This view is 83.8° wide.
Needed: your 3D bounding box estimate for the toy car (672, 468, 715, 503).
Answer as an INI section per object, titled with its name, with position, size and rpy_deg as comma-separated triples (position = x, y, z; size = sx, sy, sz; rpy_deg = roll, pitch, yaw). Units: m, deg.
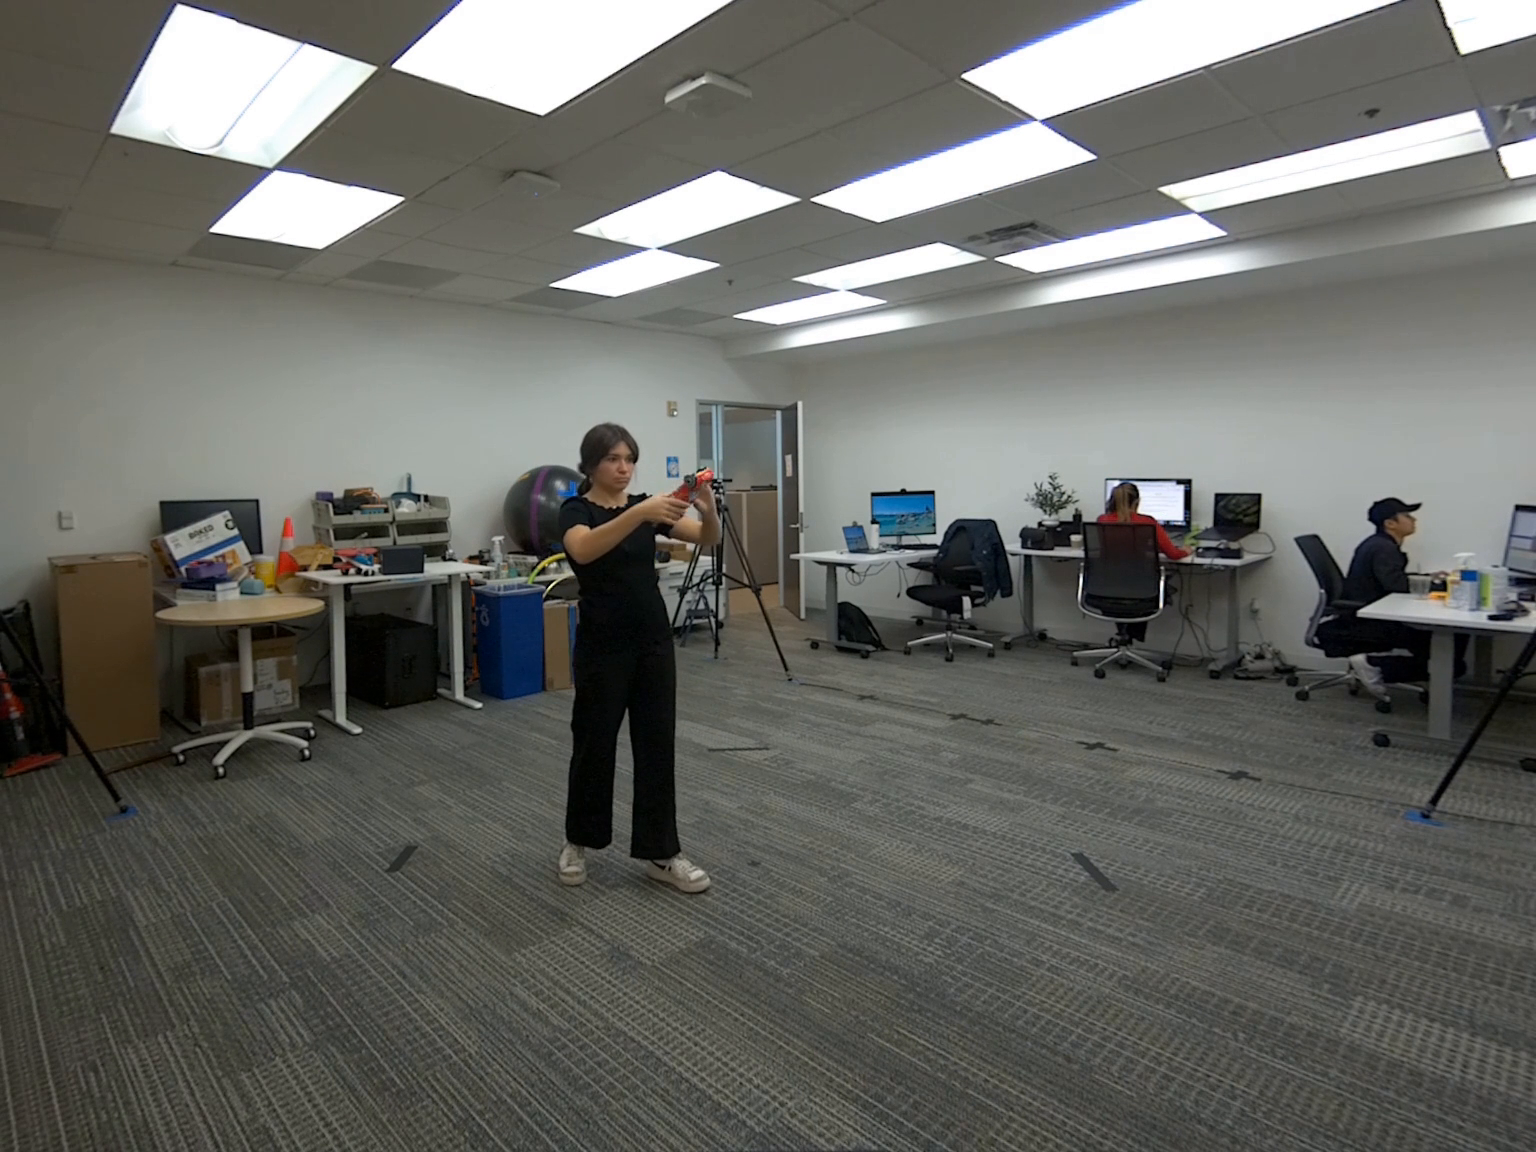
[toy car]
position = -0.271, -0.245, 2.643
size = 0.254, 0.084, 0.129
rpy_deg = -48, -5, 29
